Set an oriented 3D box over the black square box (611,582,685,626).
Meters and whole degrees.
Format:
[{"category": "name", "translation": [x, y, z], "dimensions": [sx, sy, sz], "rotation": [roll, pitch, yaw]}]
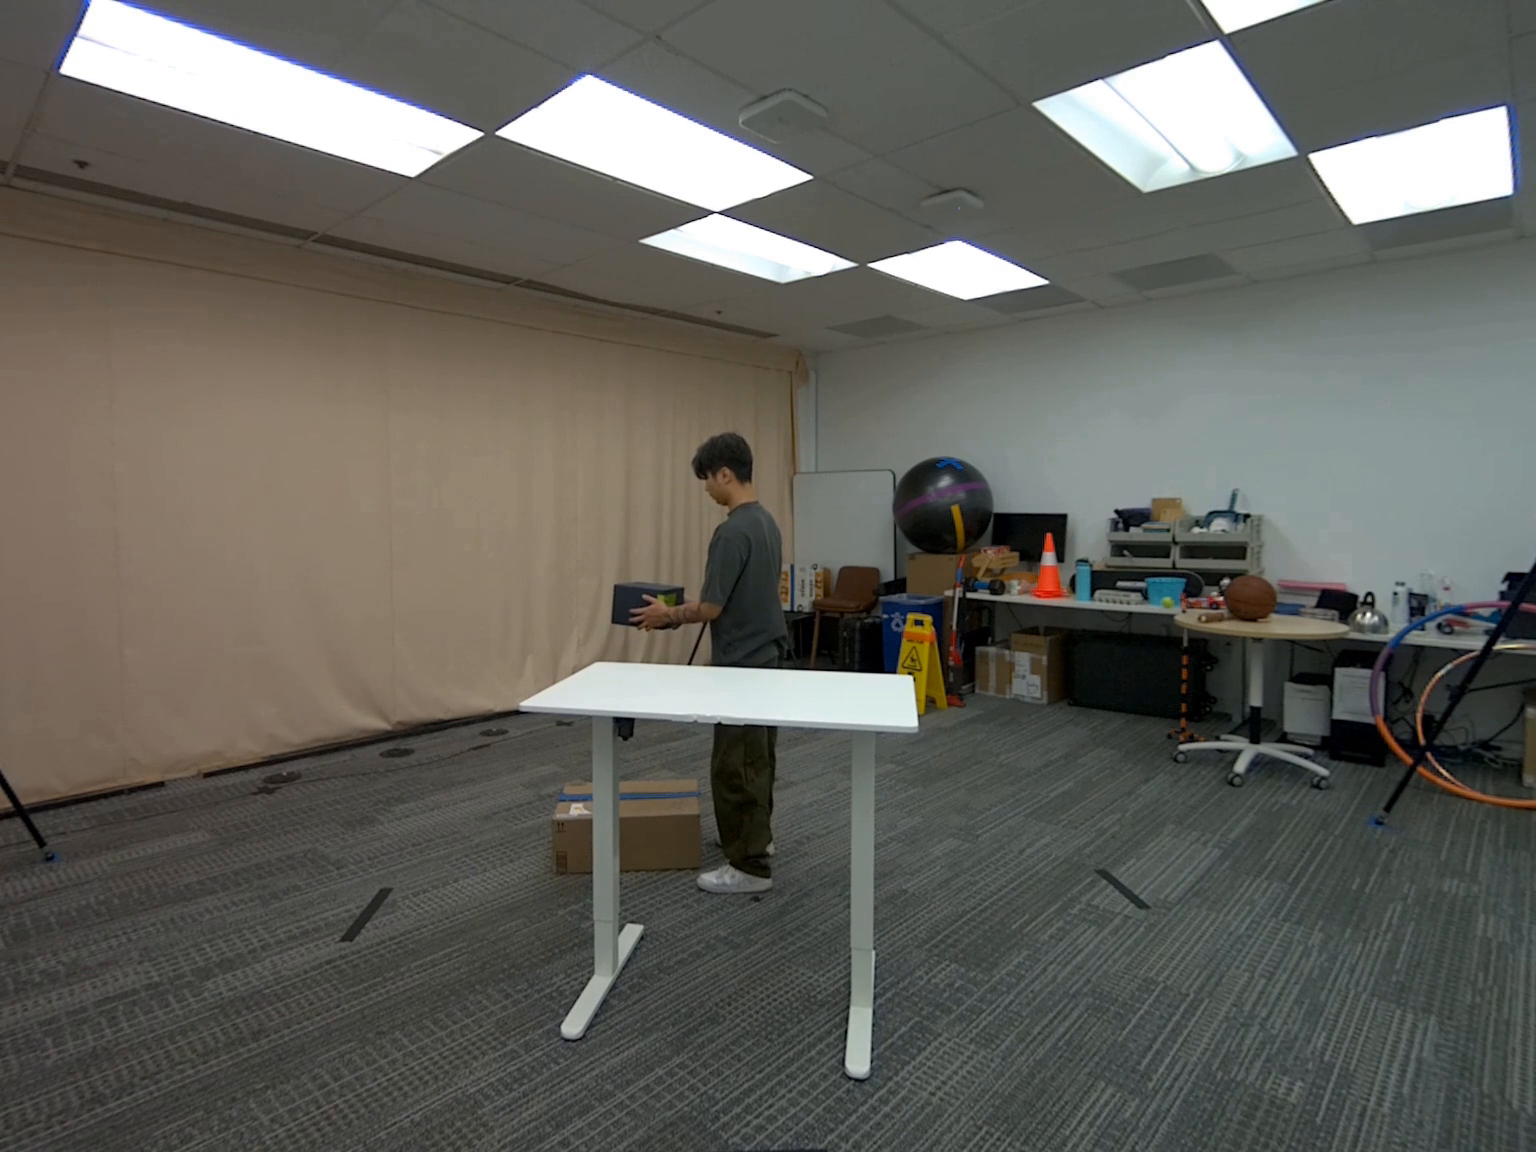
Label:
[{"category": "black square box", "translation": [-0.472, 0.113, 3.351], "dimensions": [0.221, 0.156, 0.224], "rotation": [6, 2, 14]}]
